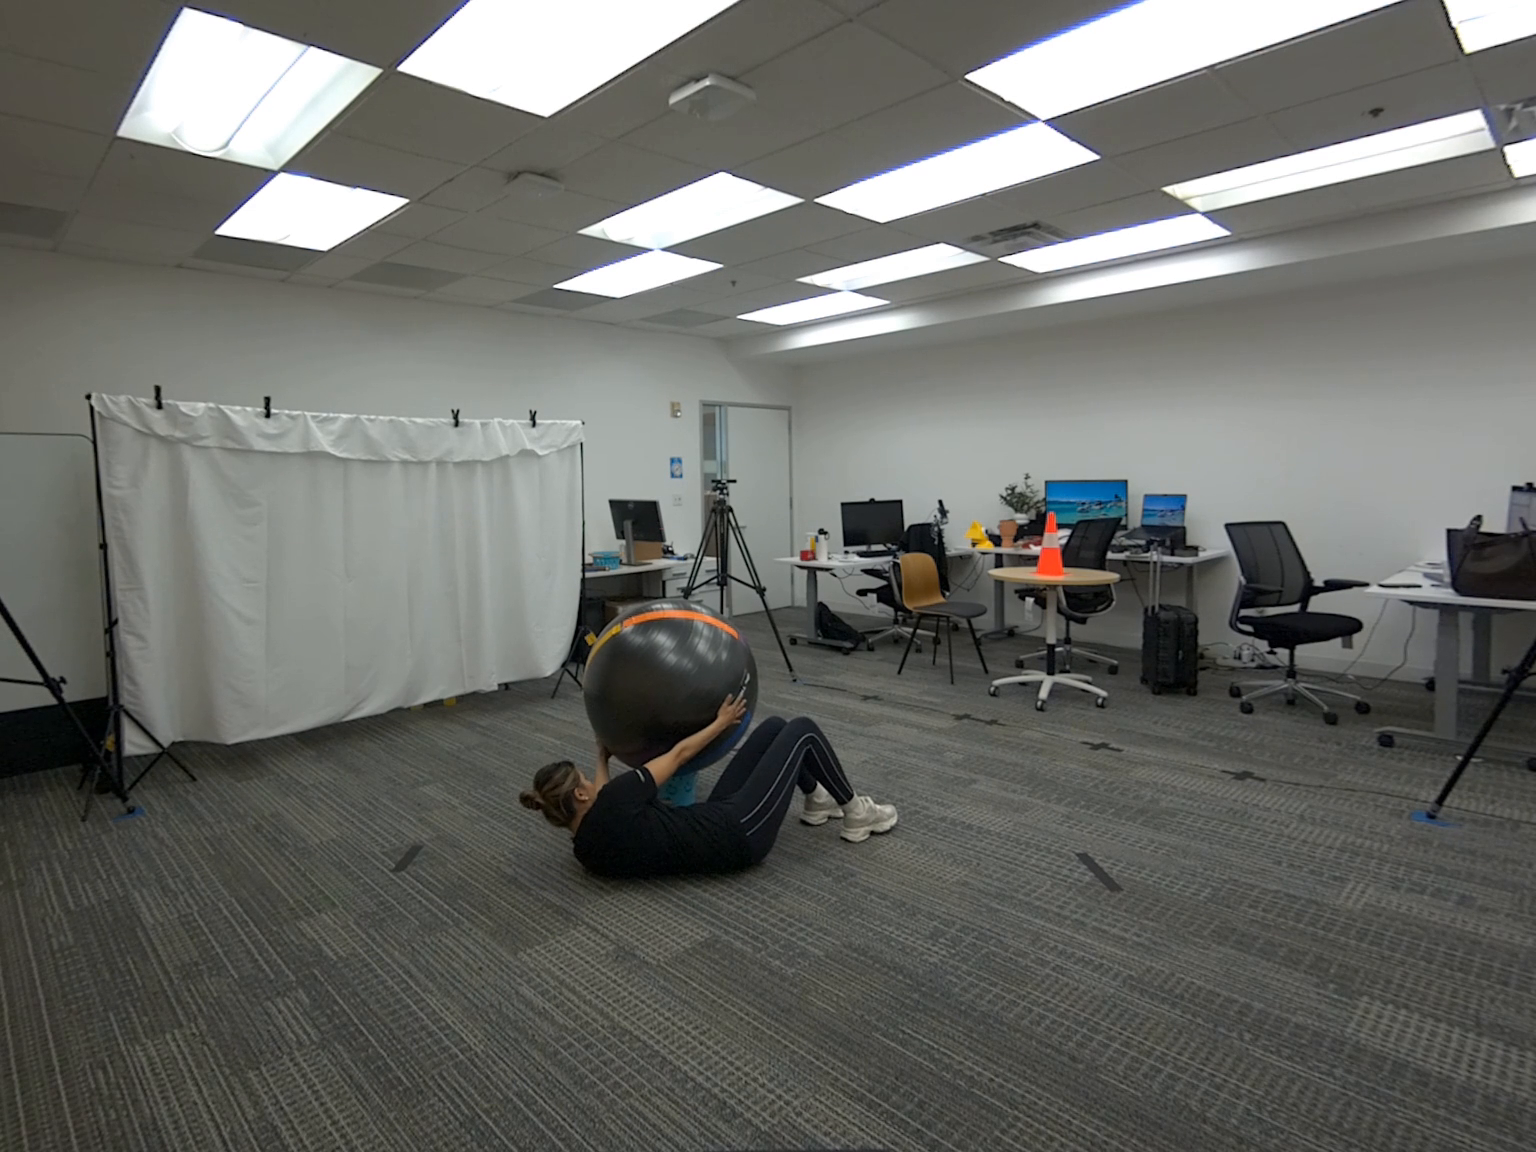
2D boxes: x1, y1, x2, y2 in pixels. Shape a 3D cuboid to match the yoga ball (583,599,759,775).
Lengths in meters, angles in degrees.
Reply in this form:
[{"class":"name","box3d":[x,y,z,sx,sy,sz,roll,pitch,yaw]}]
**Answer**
[{"class":"yoga ball","box3d":[-0.429,0.480,3.703,0.757,0.757,0.759,0,1,-2]}]
